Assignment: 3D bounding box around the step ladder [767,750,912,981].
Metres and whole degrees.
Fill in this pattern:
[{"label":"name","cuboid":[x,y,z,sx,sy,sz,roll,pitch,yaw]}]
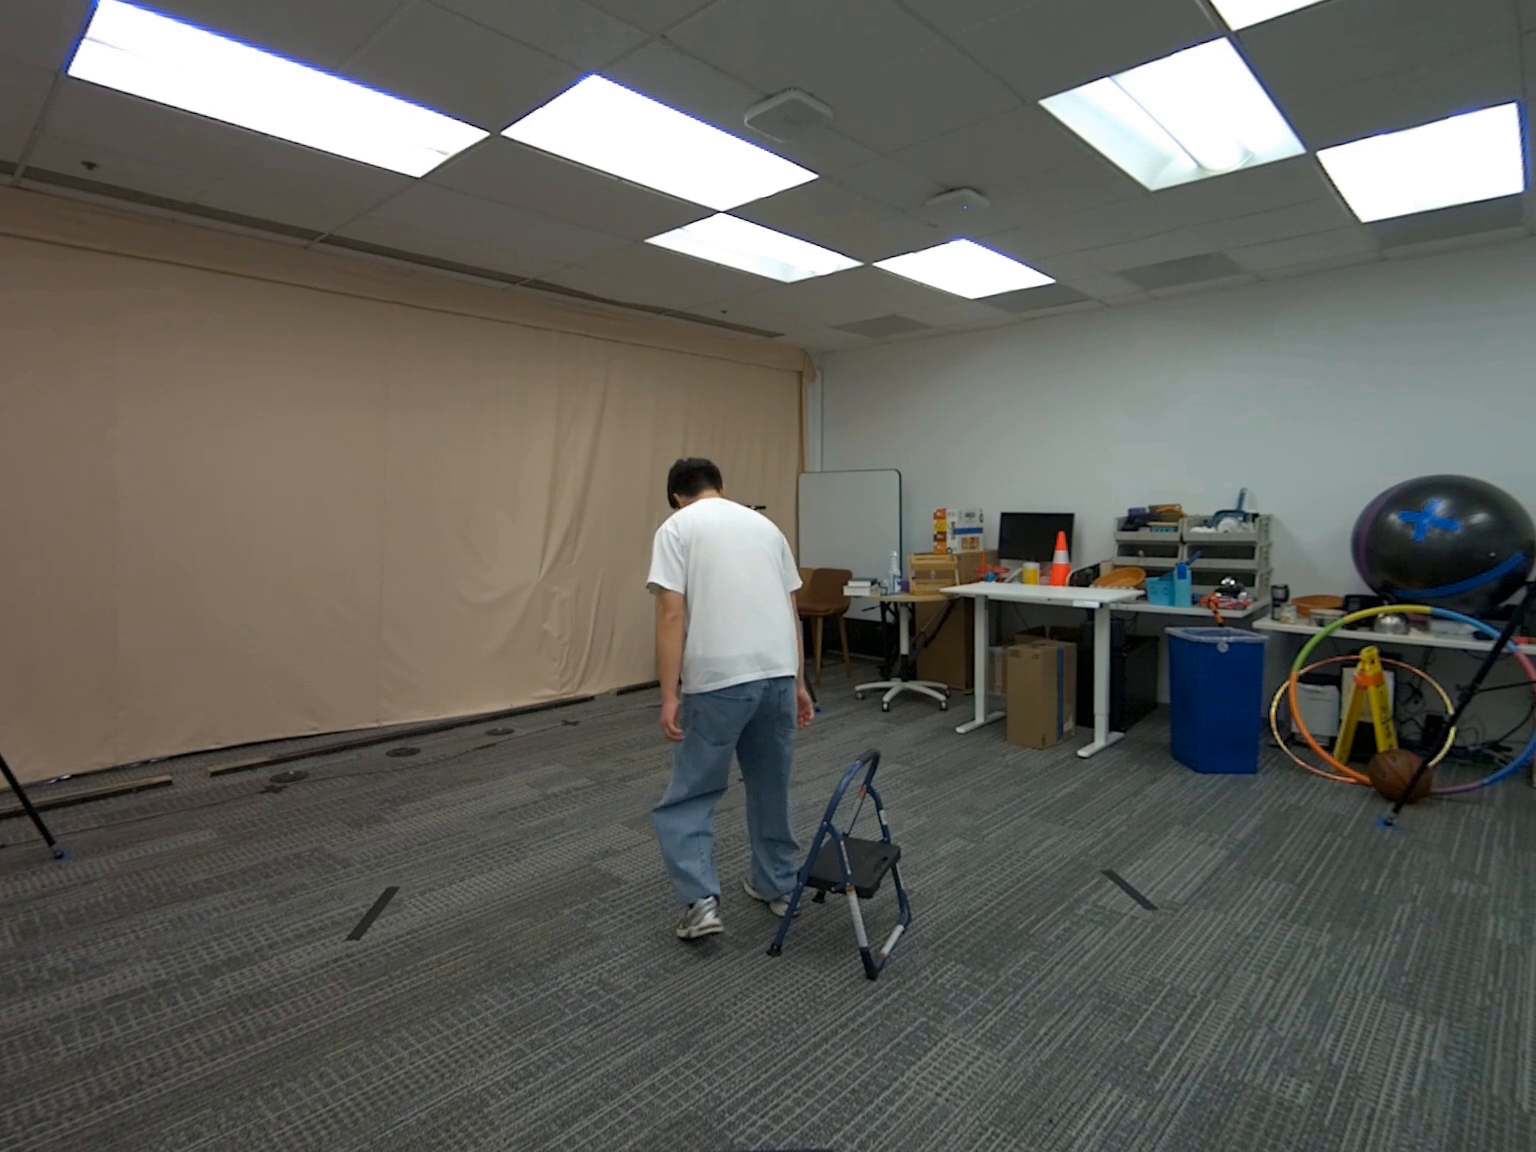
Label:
[{"label":"step ladder","cuboid":[0.246,0.863,2.696,0.358,0.605,0.420,2,4,26]}]
